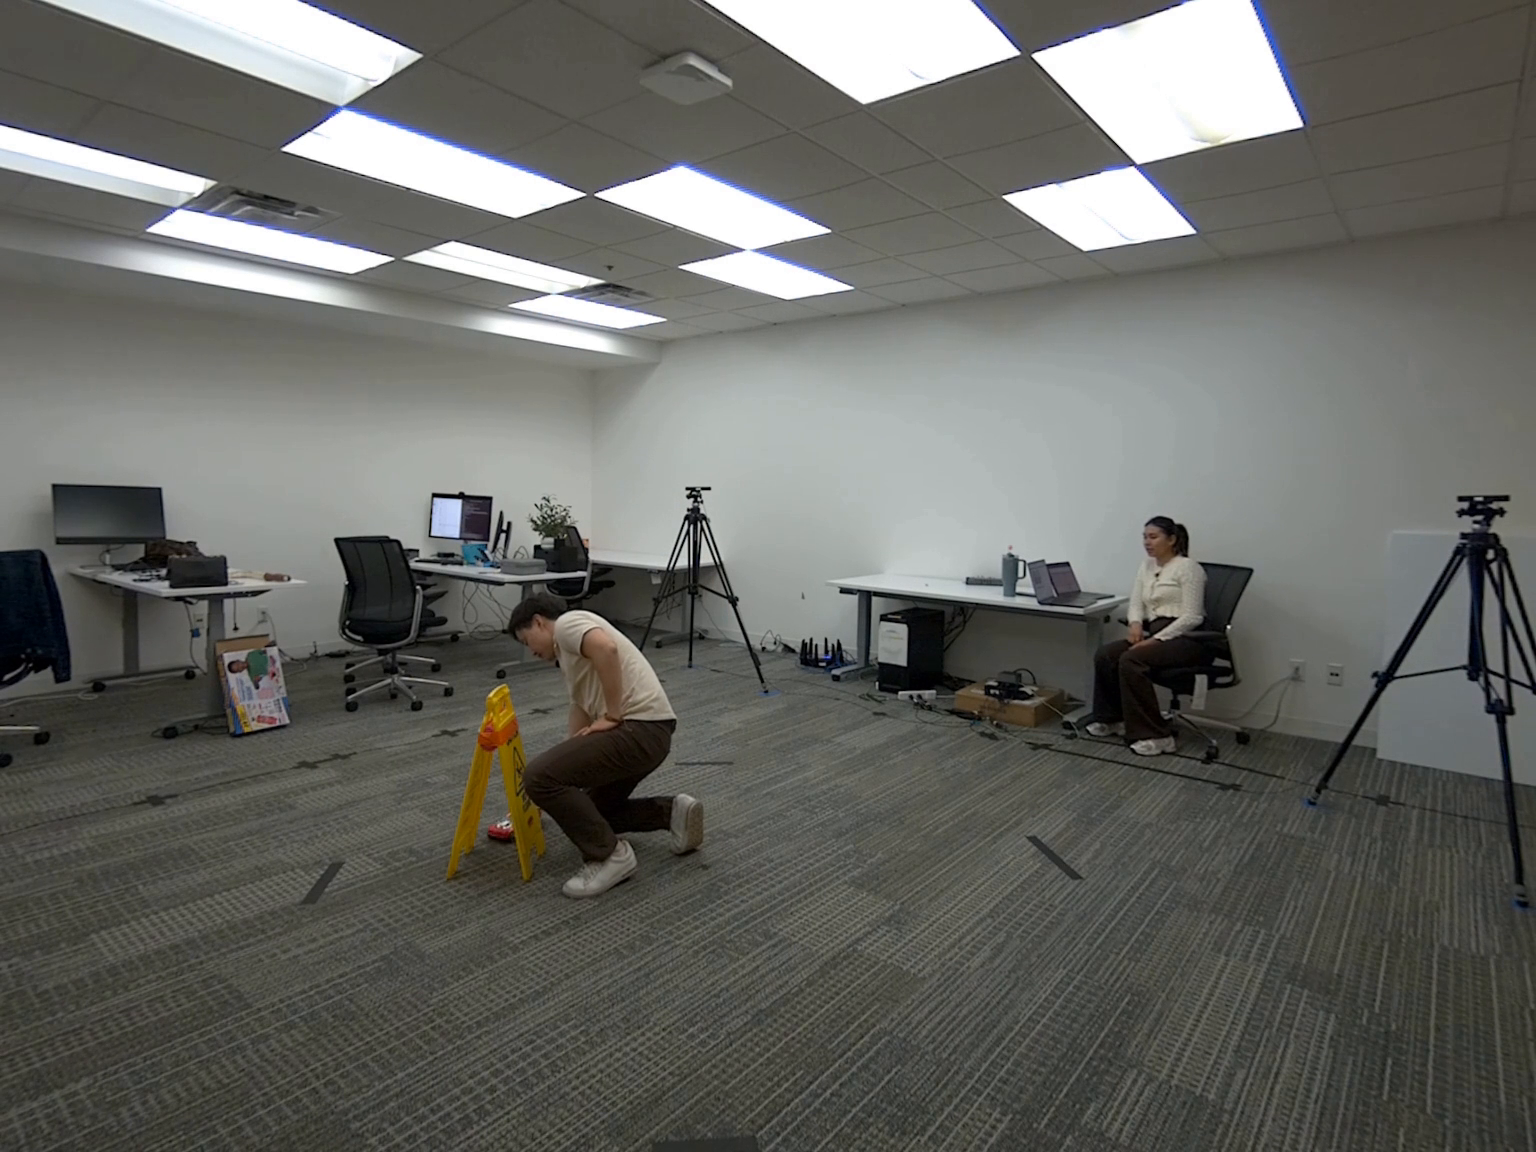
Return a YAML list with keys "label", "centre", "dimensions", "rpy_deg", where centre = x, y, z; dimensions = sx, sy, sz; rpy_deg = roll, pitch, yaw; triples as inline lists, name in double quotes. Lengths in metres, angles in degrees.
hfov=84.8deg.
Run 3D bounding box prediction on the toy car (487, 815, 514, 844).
- label: "toy car"
  centre: [-1.028, 0.993, 3.422]
  dimensions: [0.133, 0.082, 0.252]
  rpy_deg: [0, 14, 19]
